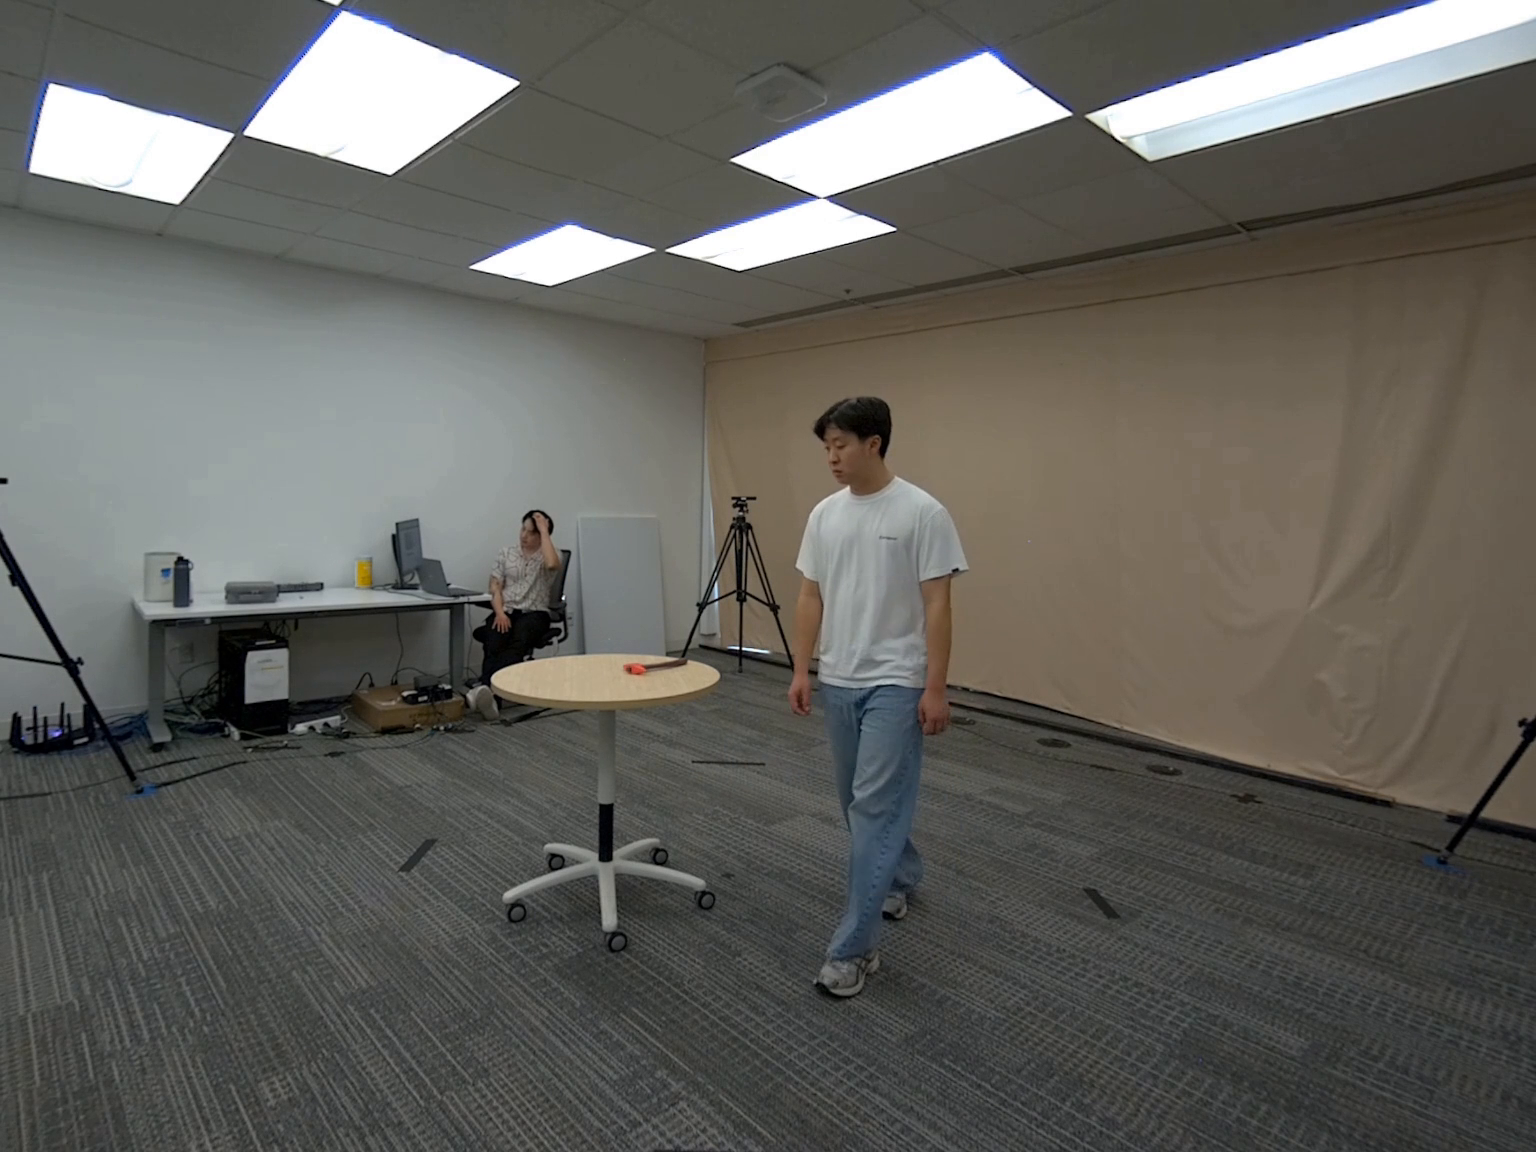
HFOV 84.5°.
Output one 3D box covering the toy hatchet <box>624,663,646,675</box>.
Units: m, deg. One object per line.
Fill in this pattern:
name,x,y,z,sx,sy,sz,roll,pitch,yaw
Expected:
toy hatchet,-0.418,0.318,2.986,0.134,0.029,0.265,1,3,29
